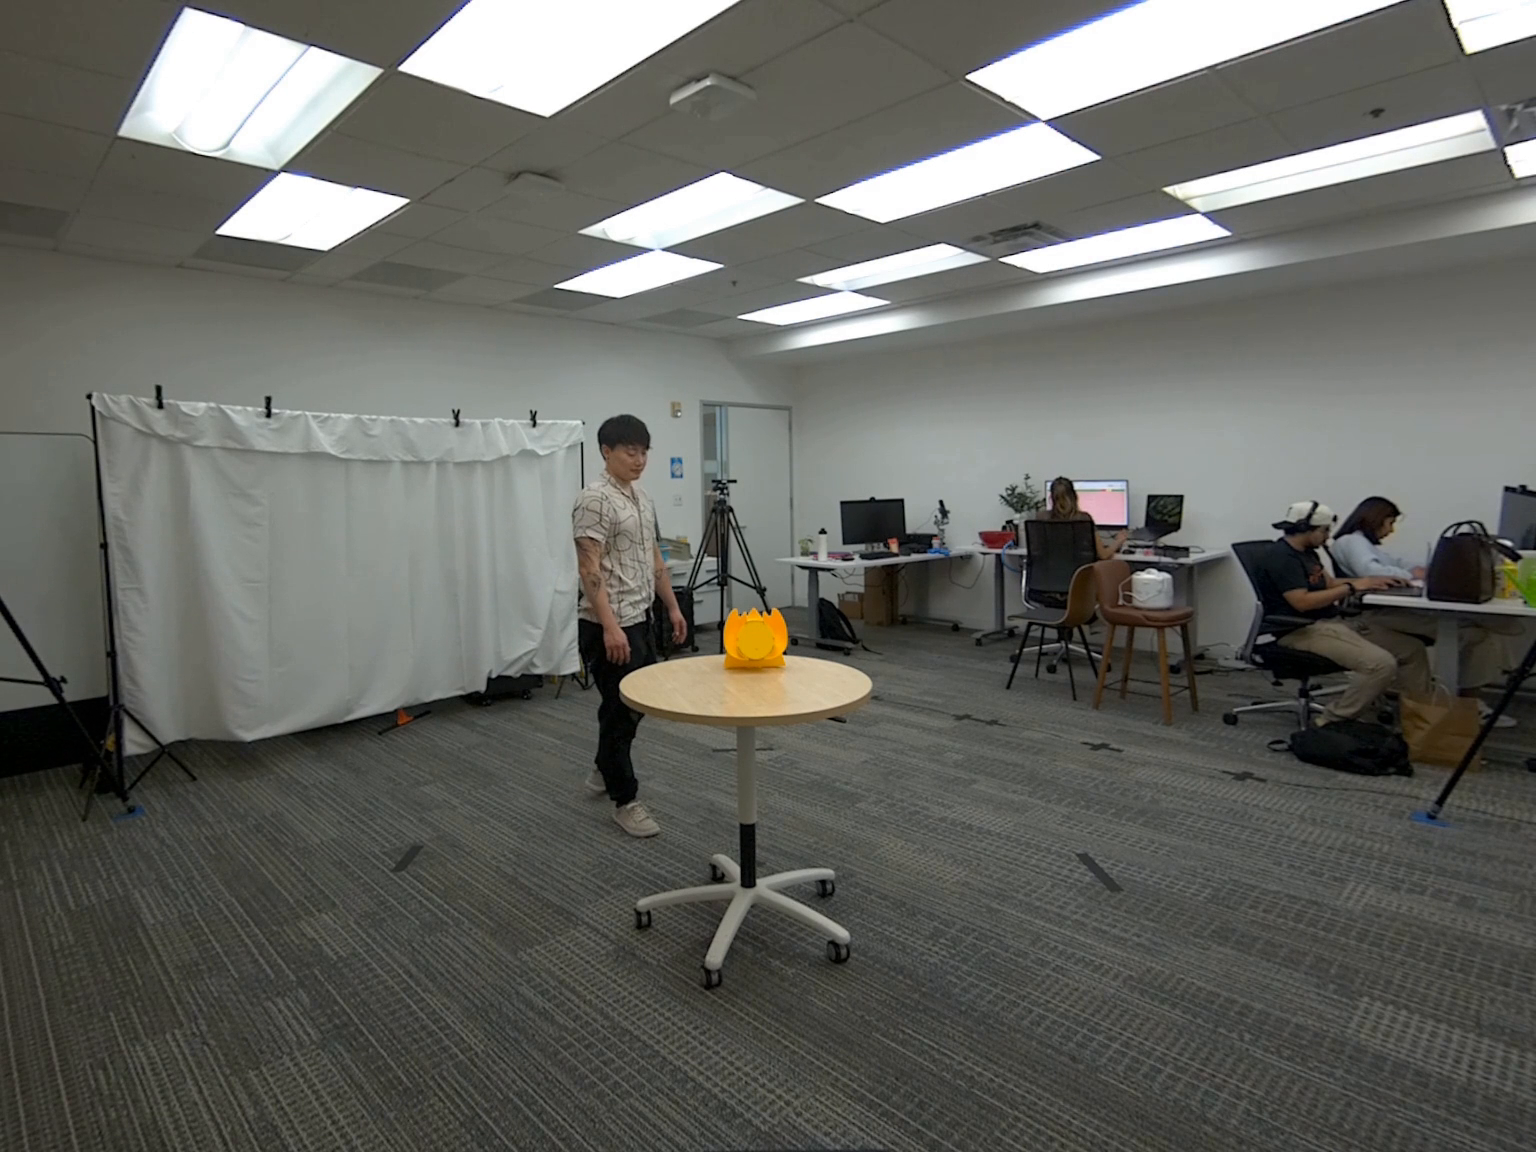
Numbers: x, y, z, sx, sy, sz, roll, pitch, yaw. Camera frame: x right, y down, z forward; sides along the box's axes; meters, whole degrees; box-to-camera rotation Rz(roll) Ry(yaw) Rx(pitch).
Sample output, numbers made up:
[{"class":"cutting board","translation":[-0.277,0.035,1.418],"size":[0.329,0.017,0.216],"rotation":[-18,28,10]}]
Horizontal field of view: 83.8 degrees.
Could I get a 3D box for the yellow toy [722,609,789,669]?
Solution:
[{"class":"yellow toy","translation":[-0.051,0.205,2.822],"size":[0.204,0.194,0.230],"rotation":[-2,-7,-5]}]
